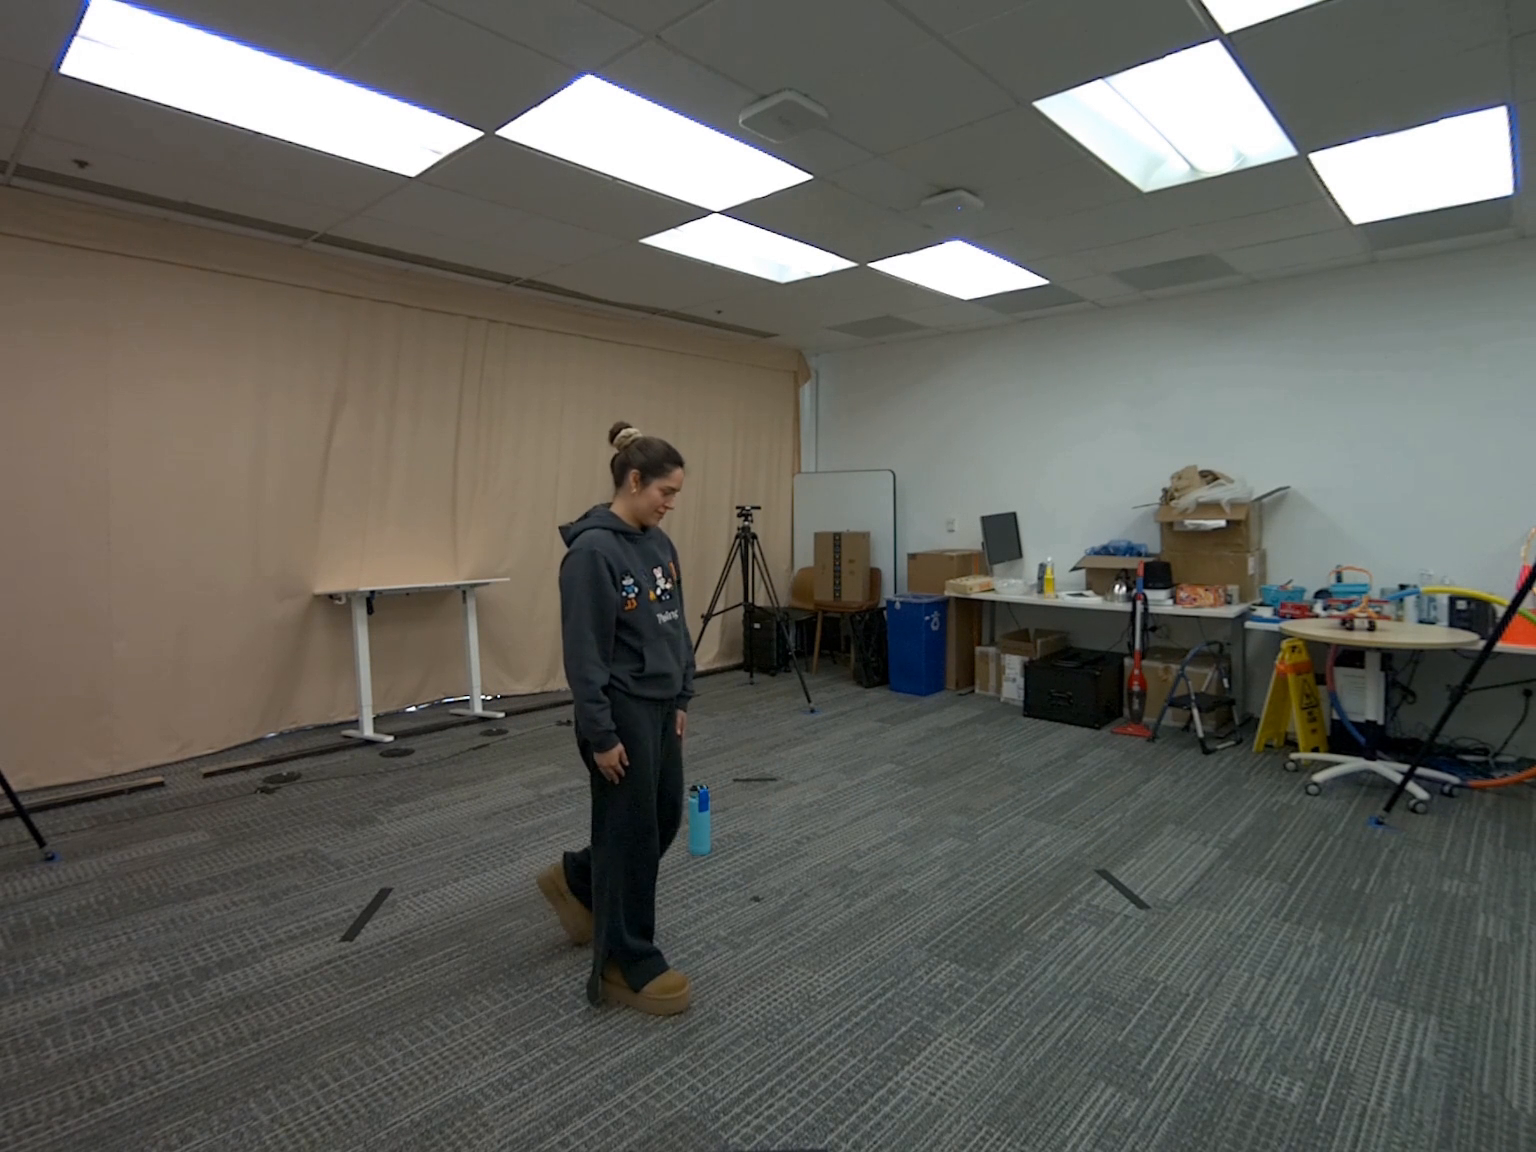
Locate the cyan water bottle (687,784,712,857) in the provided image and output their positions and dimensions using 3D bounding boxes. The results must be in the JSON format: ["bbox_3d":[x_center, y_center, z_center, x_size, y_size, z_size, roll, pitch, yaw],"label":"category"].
[{"bbox_3d":[-0.252,0.970,3.390,0.092,0.282,0.093,0,4,-2],"label":"cyan water bottle"}]
